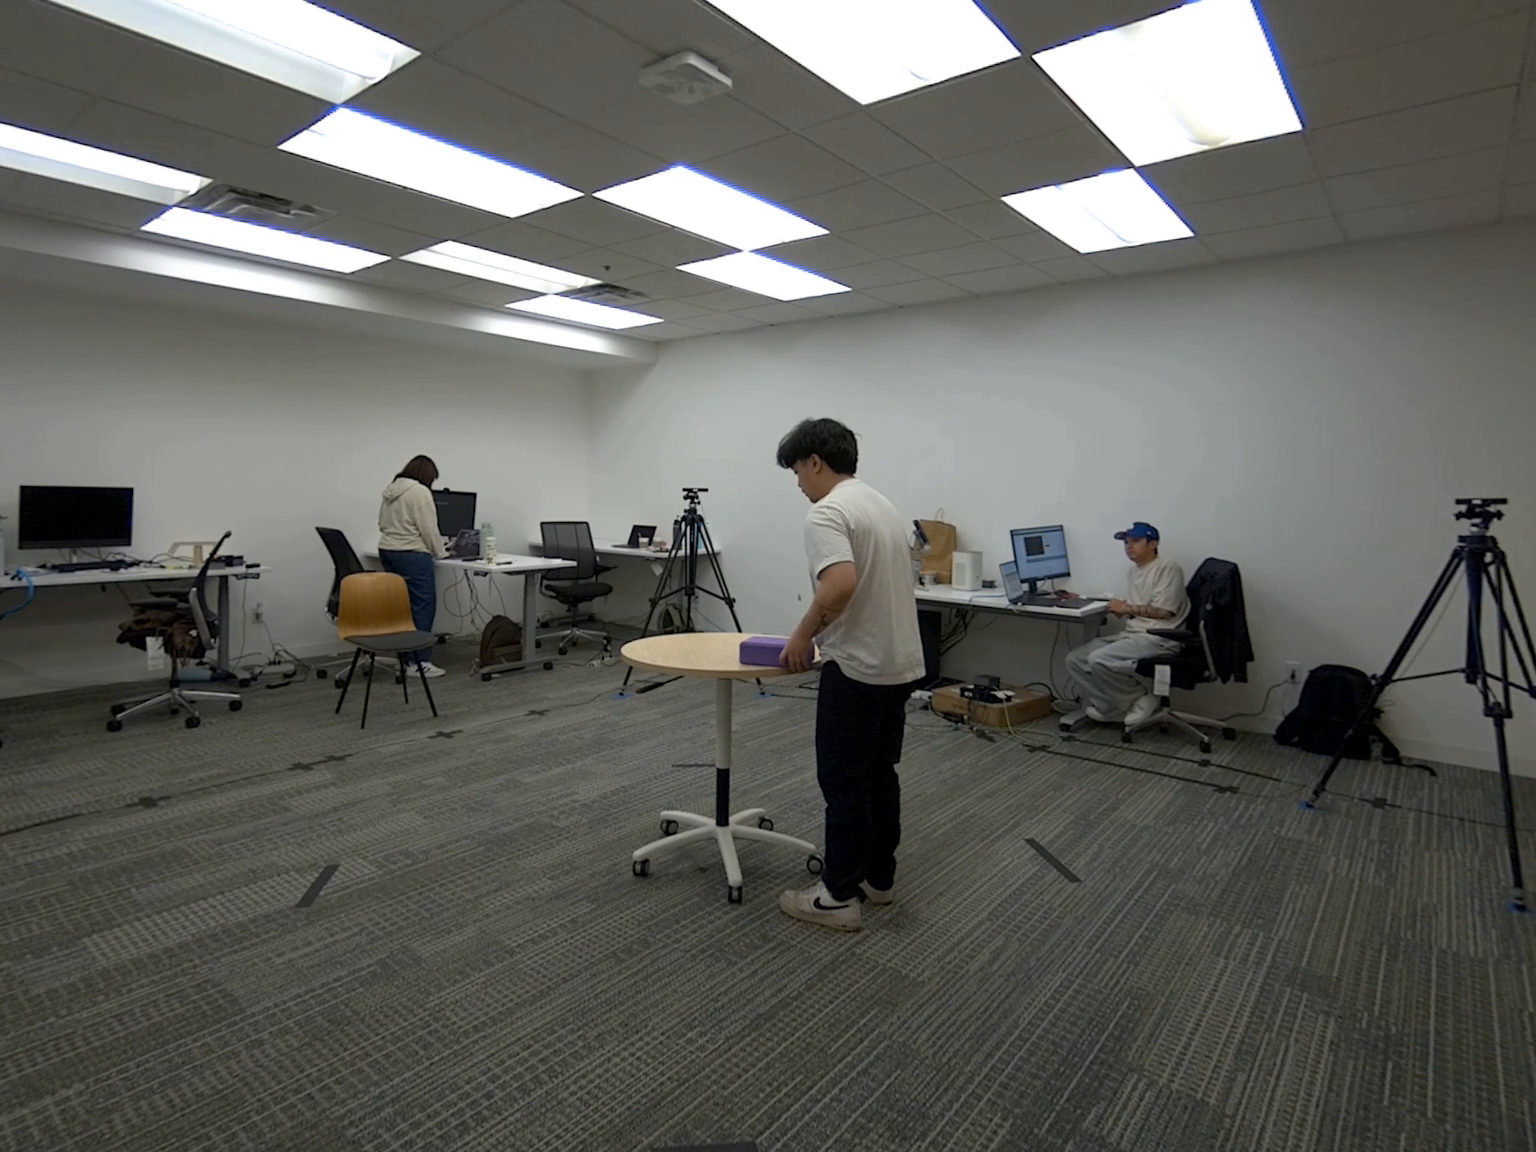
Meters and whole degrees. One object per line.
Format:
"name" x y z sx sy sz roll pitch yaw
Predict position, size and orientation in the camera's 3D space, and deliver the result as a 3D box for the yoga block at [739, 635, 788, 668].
"yoga block" 0.022 0.254 2.901 0.234 0.076 0.147 2 6 18
